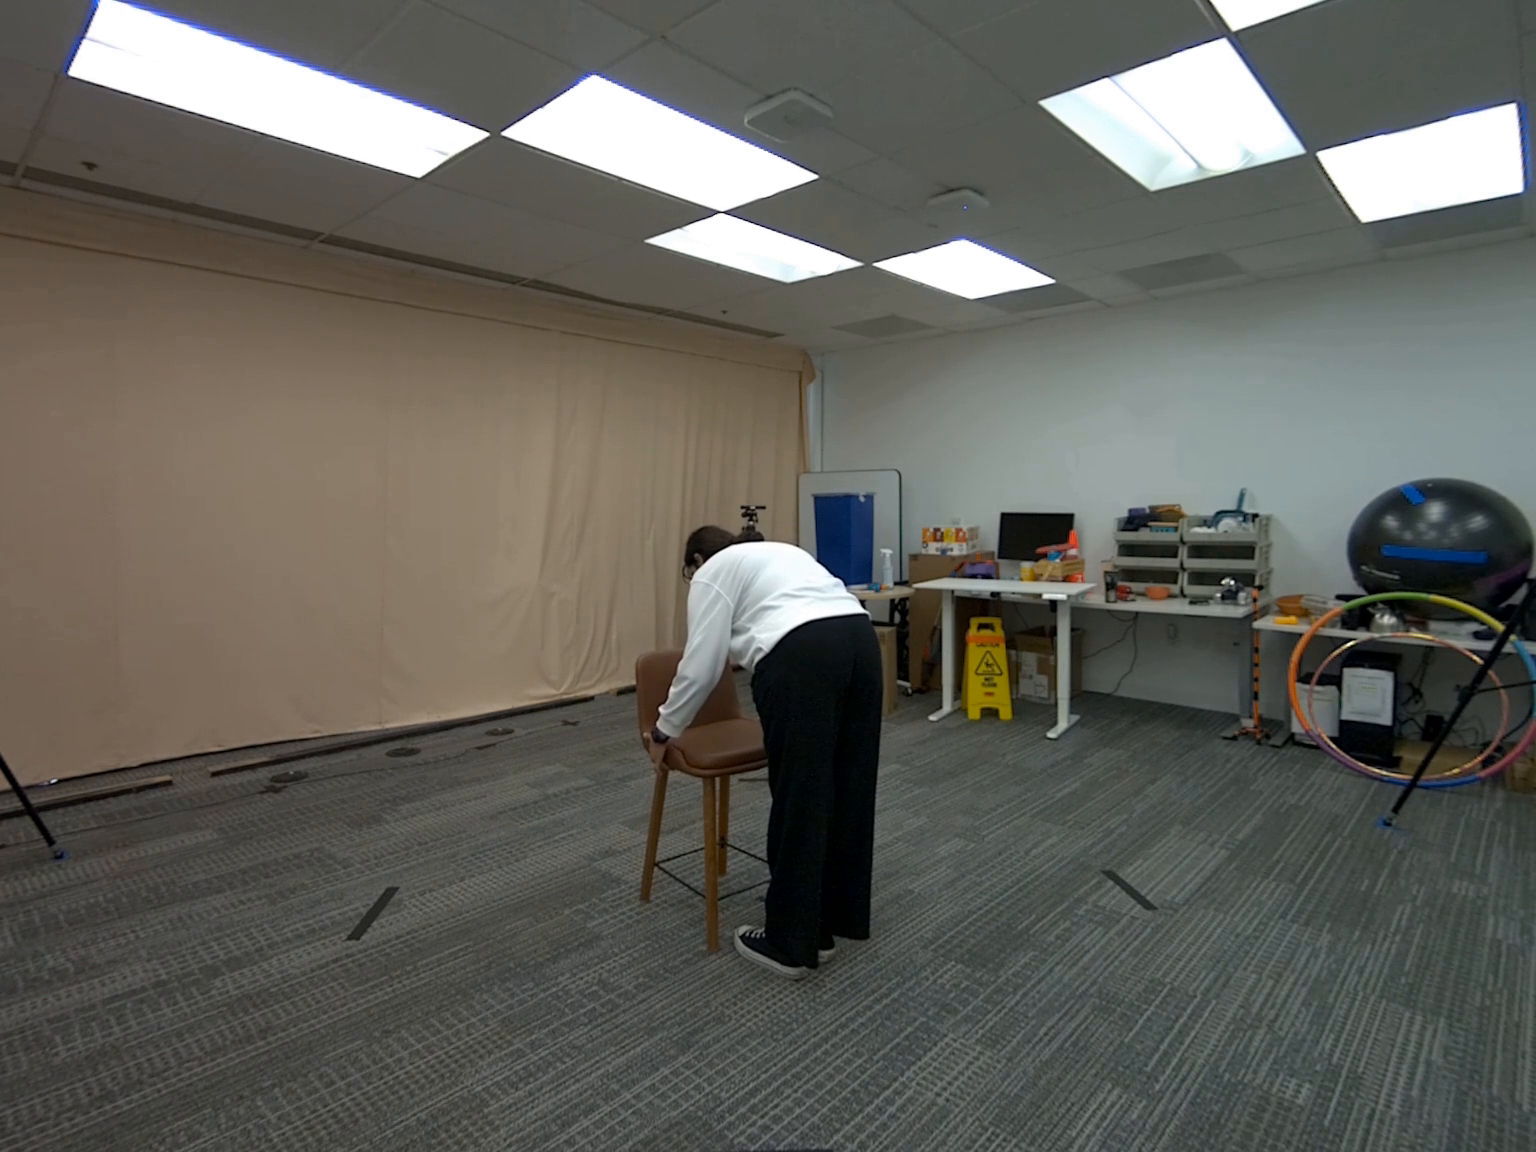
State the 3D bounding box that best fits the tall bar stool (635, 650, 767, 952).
[{"bbox_3d":[-0.170,0.711,2.895,0.443,0.888,0.482,-3,3,-39],"label":"tall bar stool"}]
